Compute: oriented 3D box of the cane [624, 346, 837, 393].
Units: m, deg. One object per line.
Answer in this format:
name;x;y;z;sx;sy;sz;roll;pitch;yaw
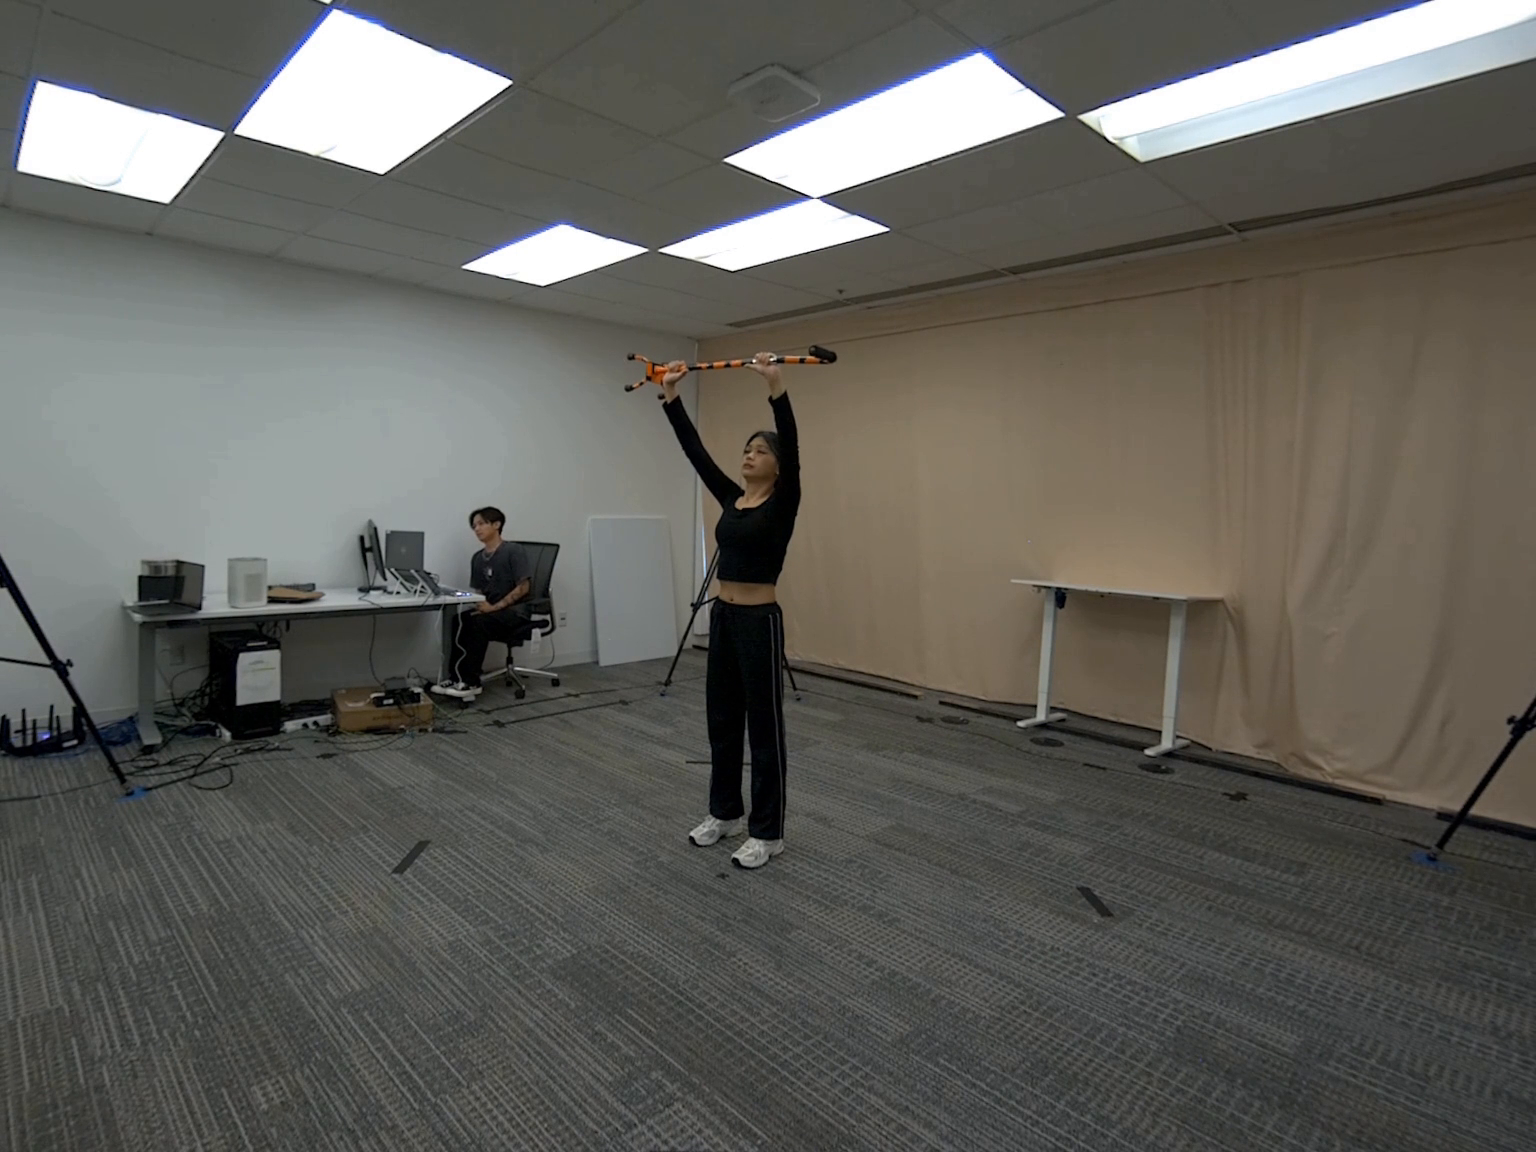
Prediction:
cane;-0.142;-0.747;3.027;0.932;0.151;0.201;7;4;42
